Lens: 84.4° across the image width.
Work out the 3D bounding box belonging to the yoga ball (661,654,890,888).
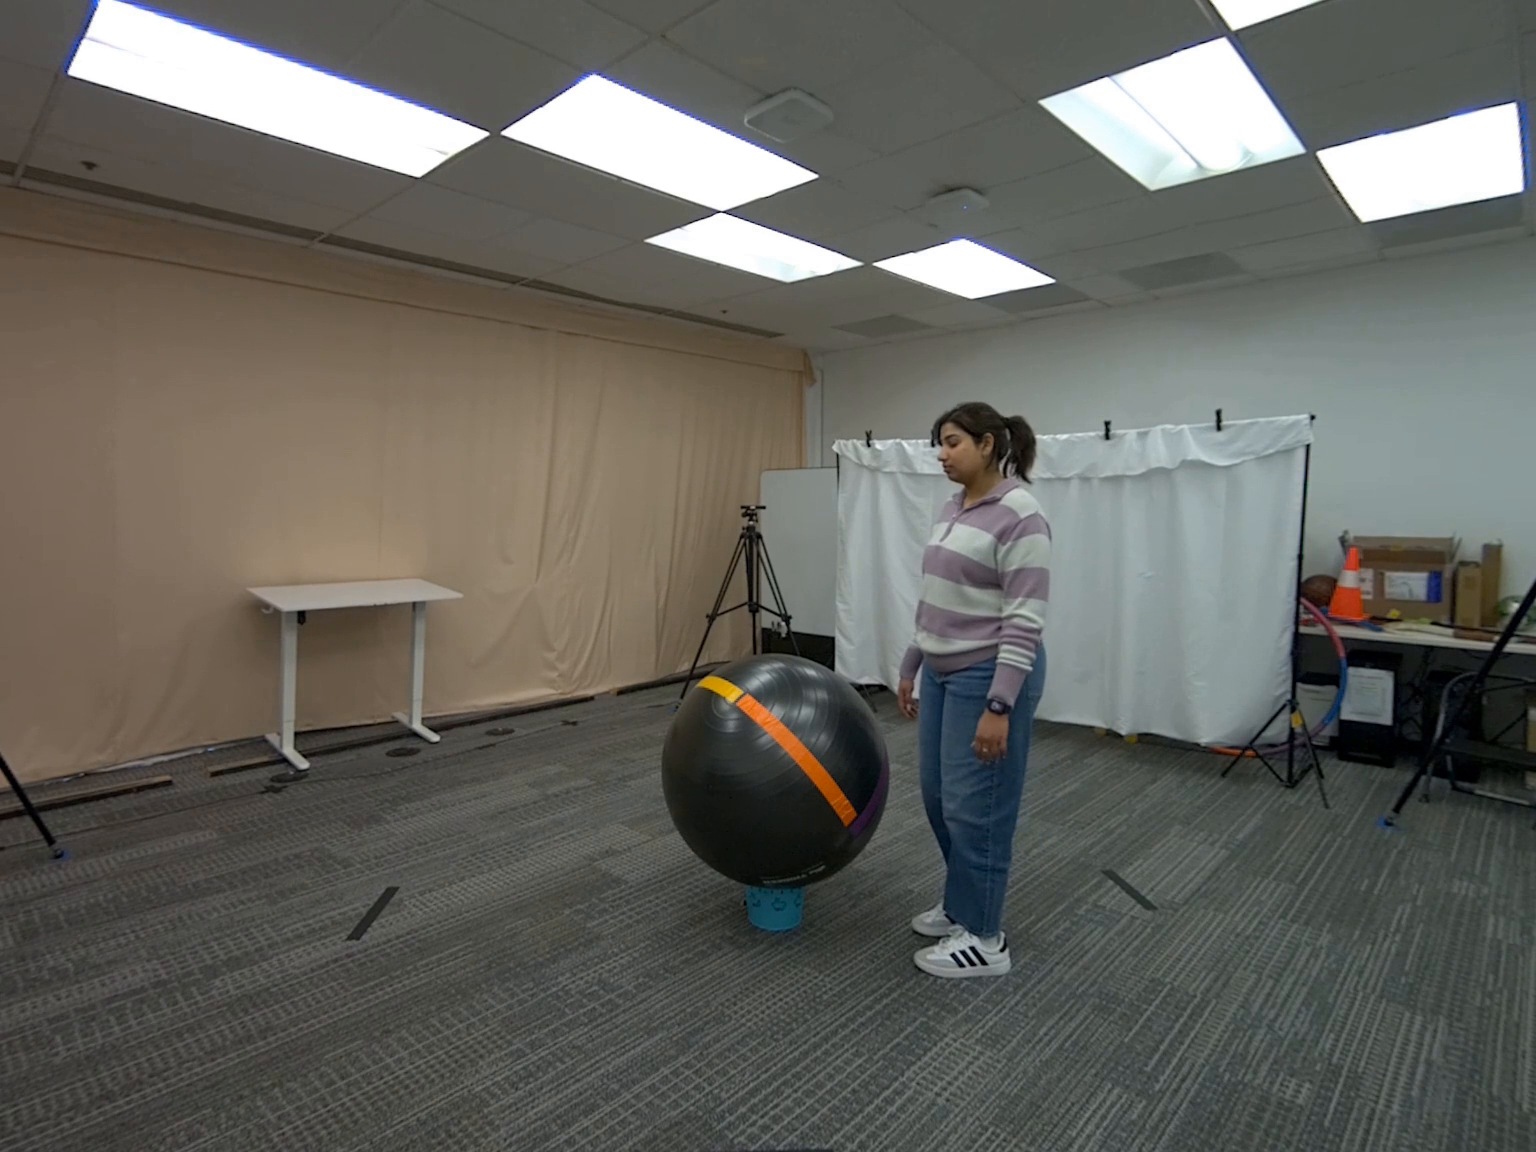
[{"bbox_3d":[0.024,0.647,2.830,0.757,0.756,0.760,0,4,-2],"label":"yoga ball"}]
